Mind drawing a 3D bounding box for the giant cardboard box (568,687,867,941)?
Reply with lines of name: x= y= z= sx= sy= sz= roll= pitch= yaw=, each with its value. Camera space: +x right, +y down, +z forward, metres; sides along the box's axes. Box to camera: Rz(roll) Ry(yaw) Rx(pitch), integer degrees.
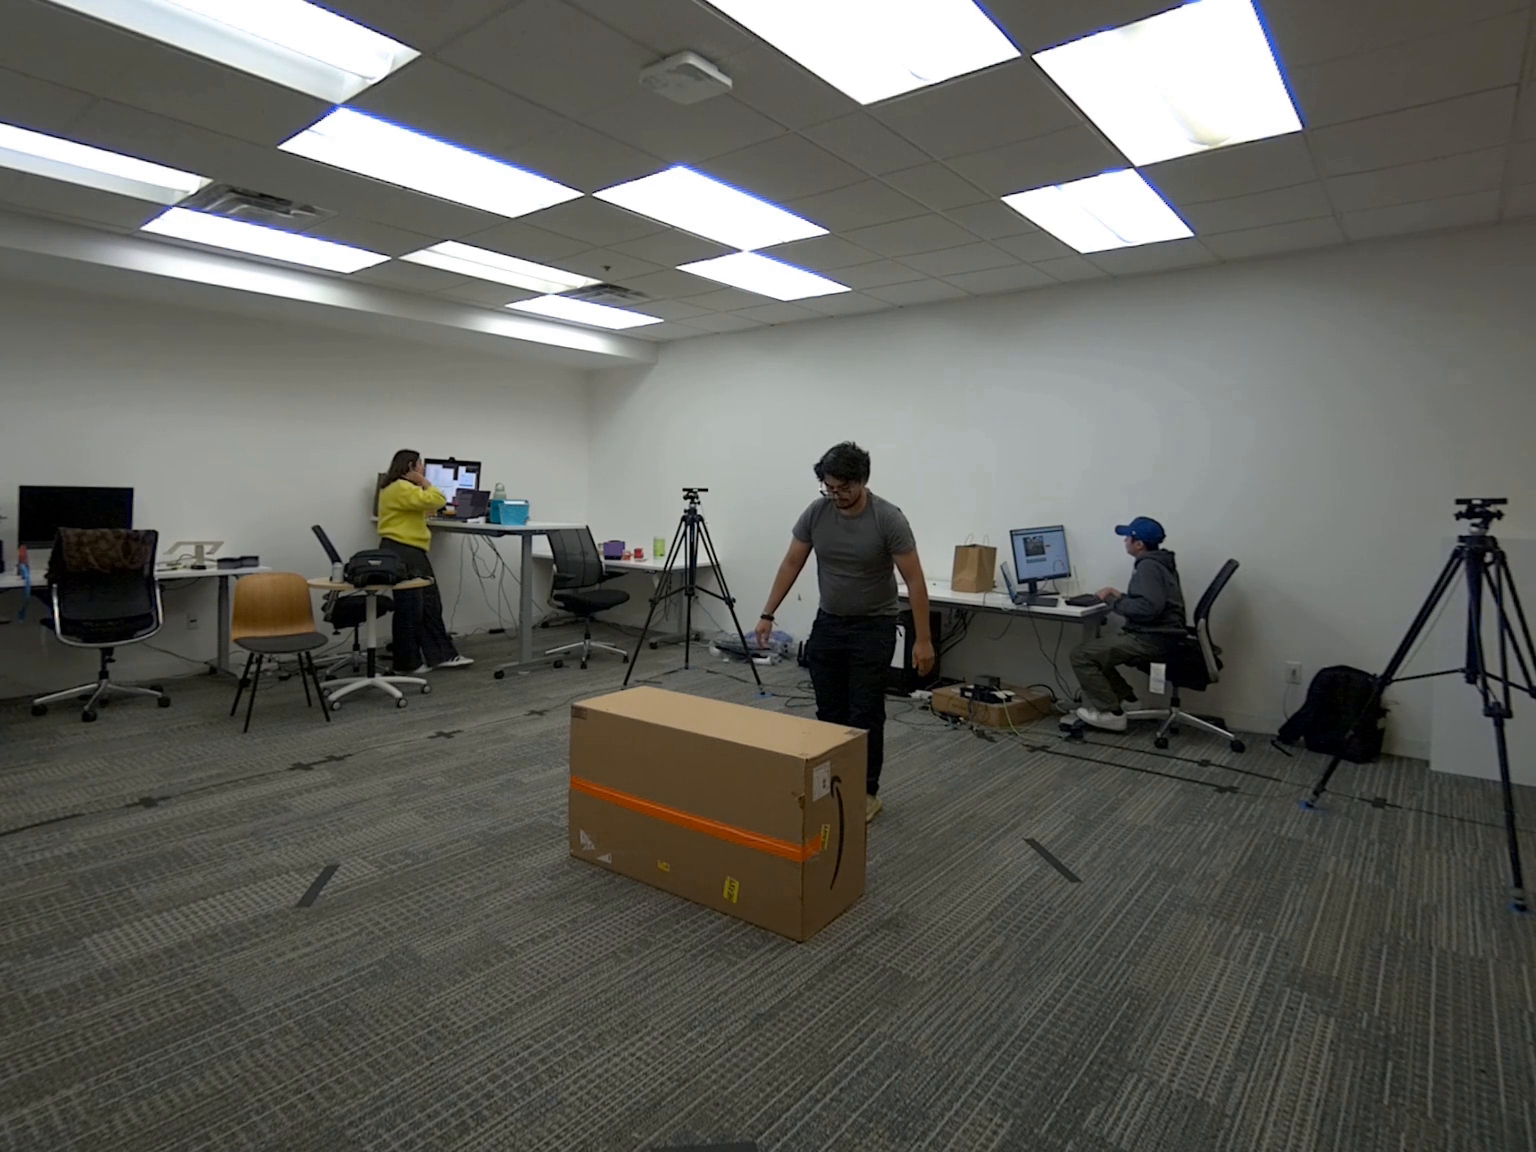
giant cardboard box: x=-0.213 y=0.785 z=3.055 sx=1.059 sy=0.576 sz=0.414 roll=4 pitch=5 yaw=35
